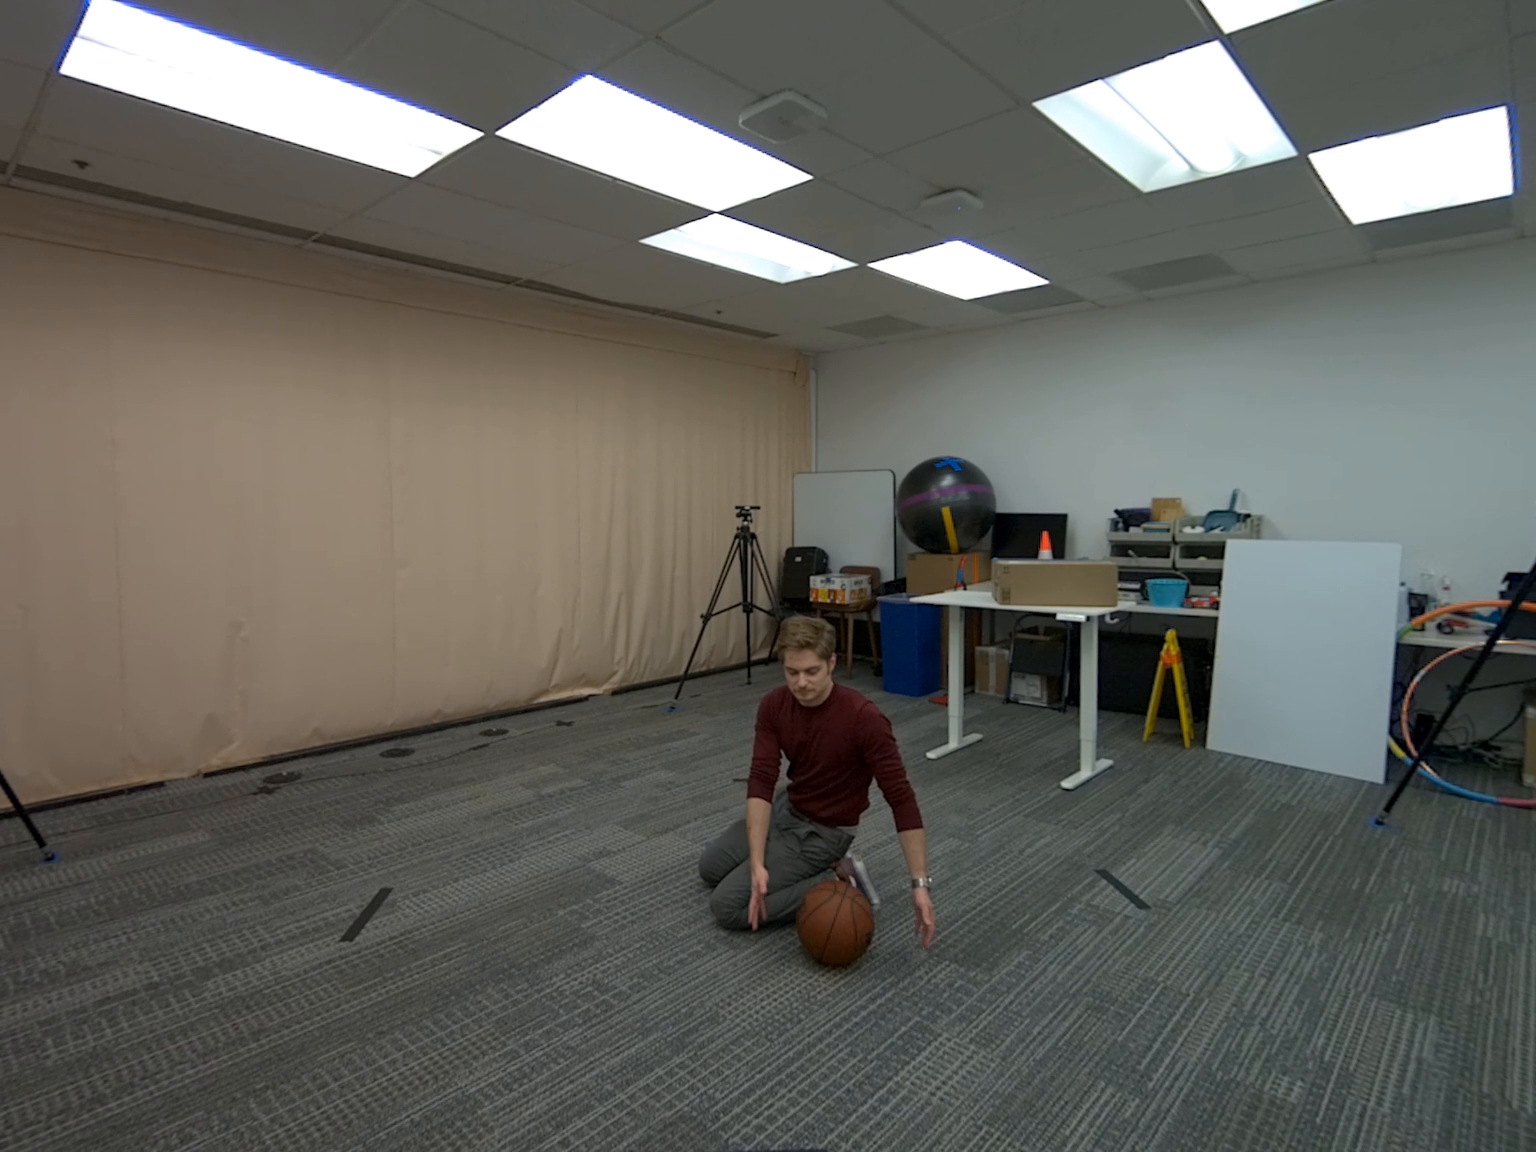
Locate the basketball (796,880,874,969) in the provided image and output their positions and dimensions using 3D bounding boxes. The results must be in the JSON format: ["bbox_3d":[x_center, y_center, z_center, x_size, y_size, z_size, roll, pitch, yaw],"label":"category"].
[{"bbox_3d":[0.214,1.054,2.576,0.236,0.235,0.237,0,4,-2],"label":"basketball"}]
